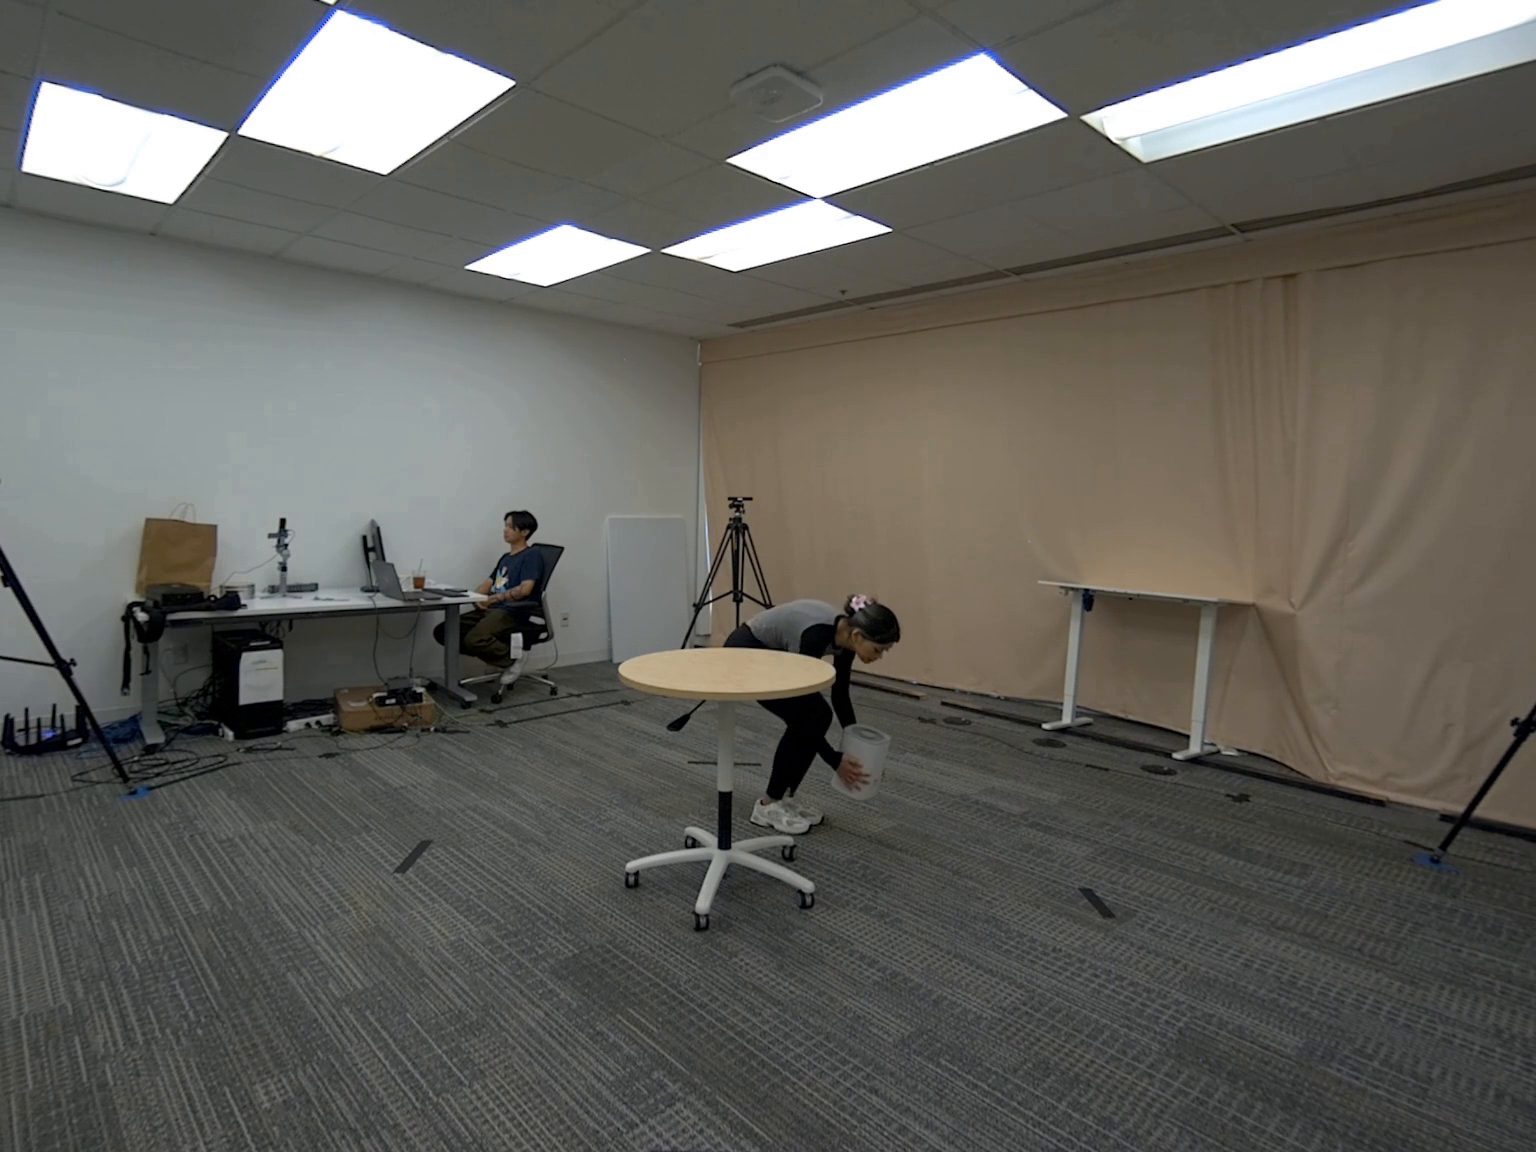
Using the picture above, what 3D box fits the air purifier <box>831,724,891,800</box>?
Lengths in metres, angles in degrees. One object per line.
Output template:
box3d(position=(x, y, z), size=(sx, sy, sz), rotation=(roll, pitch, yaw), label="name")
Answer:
box3d(position=(0.371, 0.758, 3.450), size=(0.176, 0.264, 0.167), rotation=(18, 13, 32), label="air purifier")
